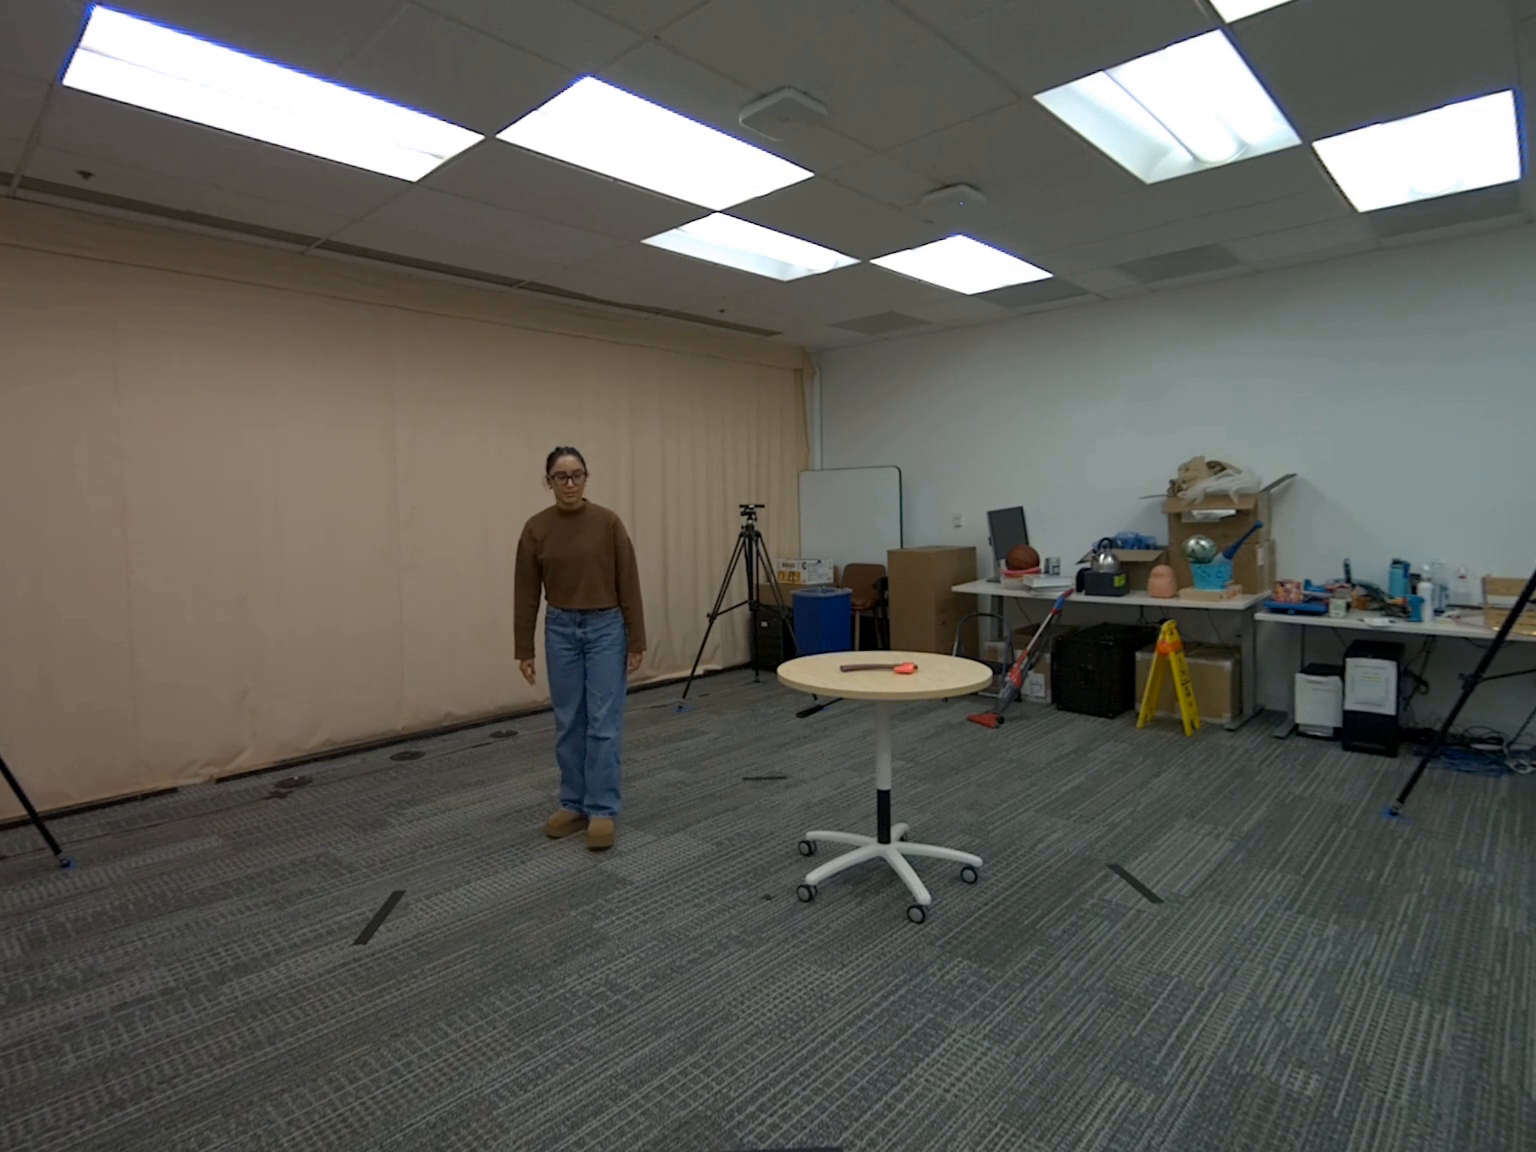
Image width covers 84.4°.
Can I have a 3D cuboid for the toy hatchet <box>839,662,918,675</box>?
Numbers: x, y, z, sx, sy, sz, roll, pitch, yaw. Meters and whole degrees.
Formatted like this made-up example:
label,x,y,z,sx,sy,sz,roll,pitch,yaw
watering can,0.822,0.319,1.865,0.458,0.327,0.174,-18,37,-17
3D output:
label,x,y,z,sx,sy,sz,roll,pitch,yaw
toy hatchet,0.413,0.338,3.011,0.269,0.029,0.132,-4,9,-5
